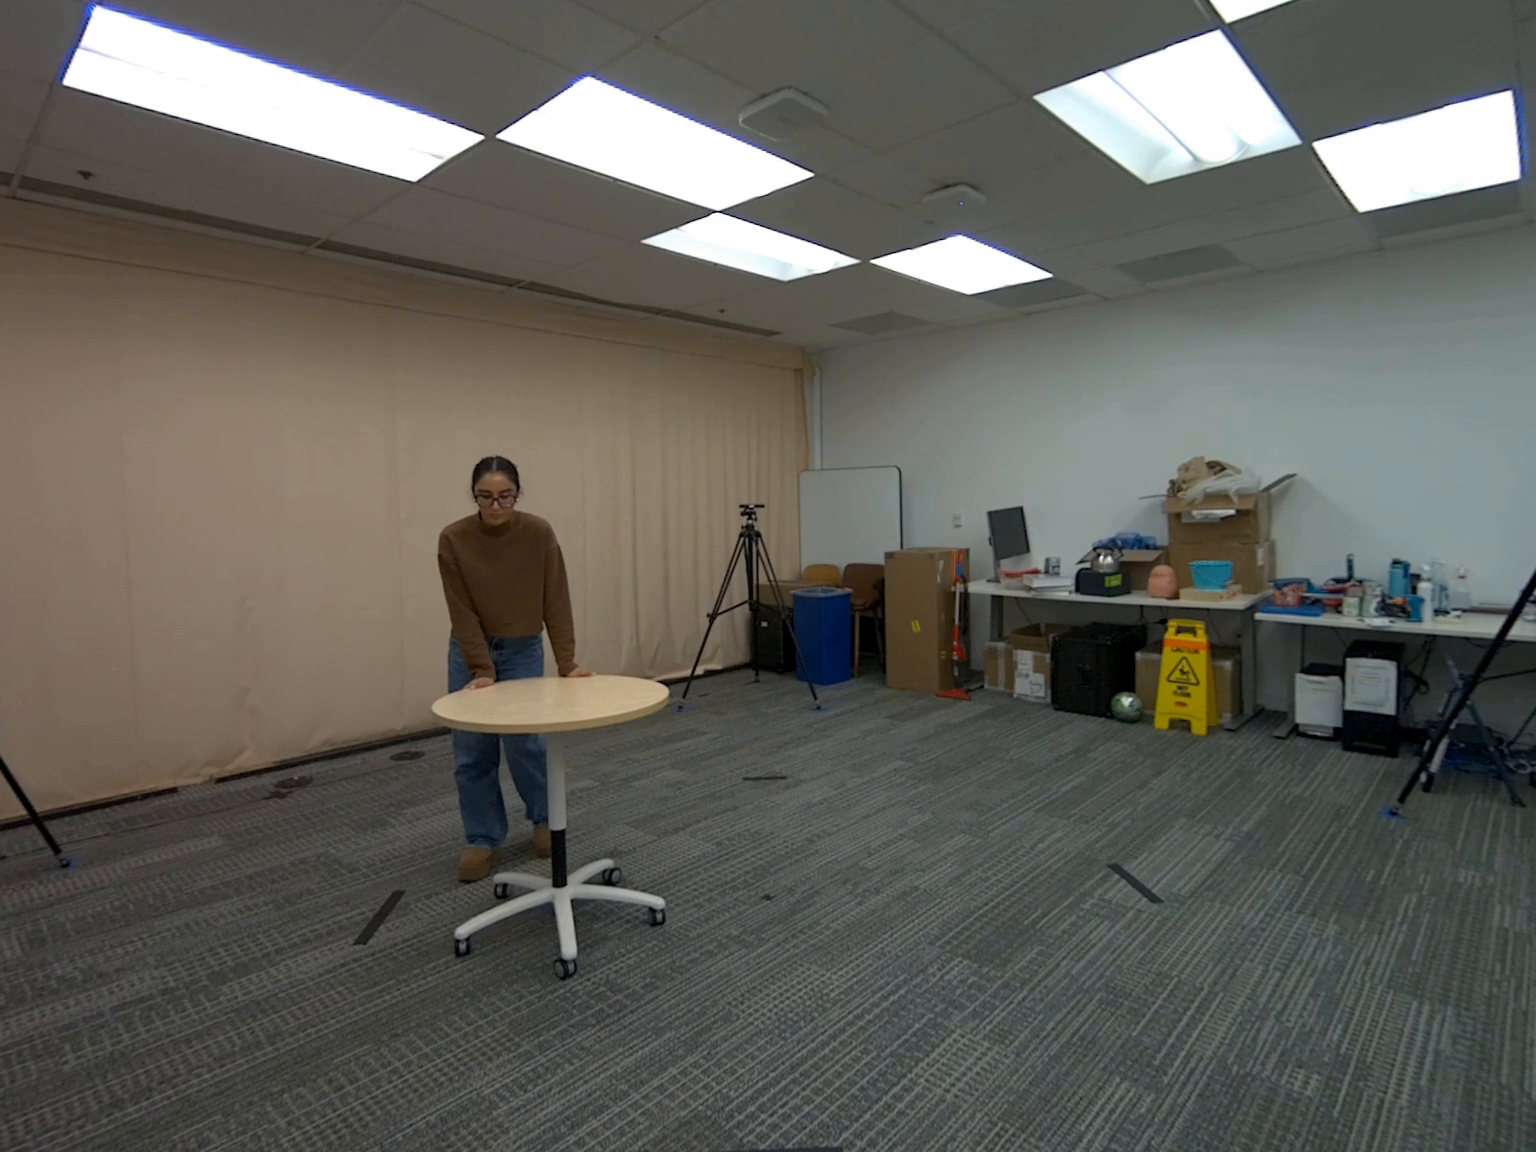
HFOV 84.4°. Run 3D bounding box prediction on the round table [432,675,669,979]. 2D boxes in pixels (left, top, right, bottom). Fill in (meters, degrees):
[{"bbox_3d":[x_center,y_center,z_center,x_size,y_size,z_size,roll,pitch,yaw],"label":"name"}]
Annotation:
[{"bbox_3d":[-0.700,0.786,2.803,0.763,0.793,0.766,-2,3,-2],"label":"round table"}]
